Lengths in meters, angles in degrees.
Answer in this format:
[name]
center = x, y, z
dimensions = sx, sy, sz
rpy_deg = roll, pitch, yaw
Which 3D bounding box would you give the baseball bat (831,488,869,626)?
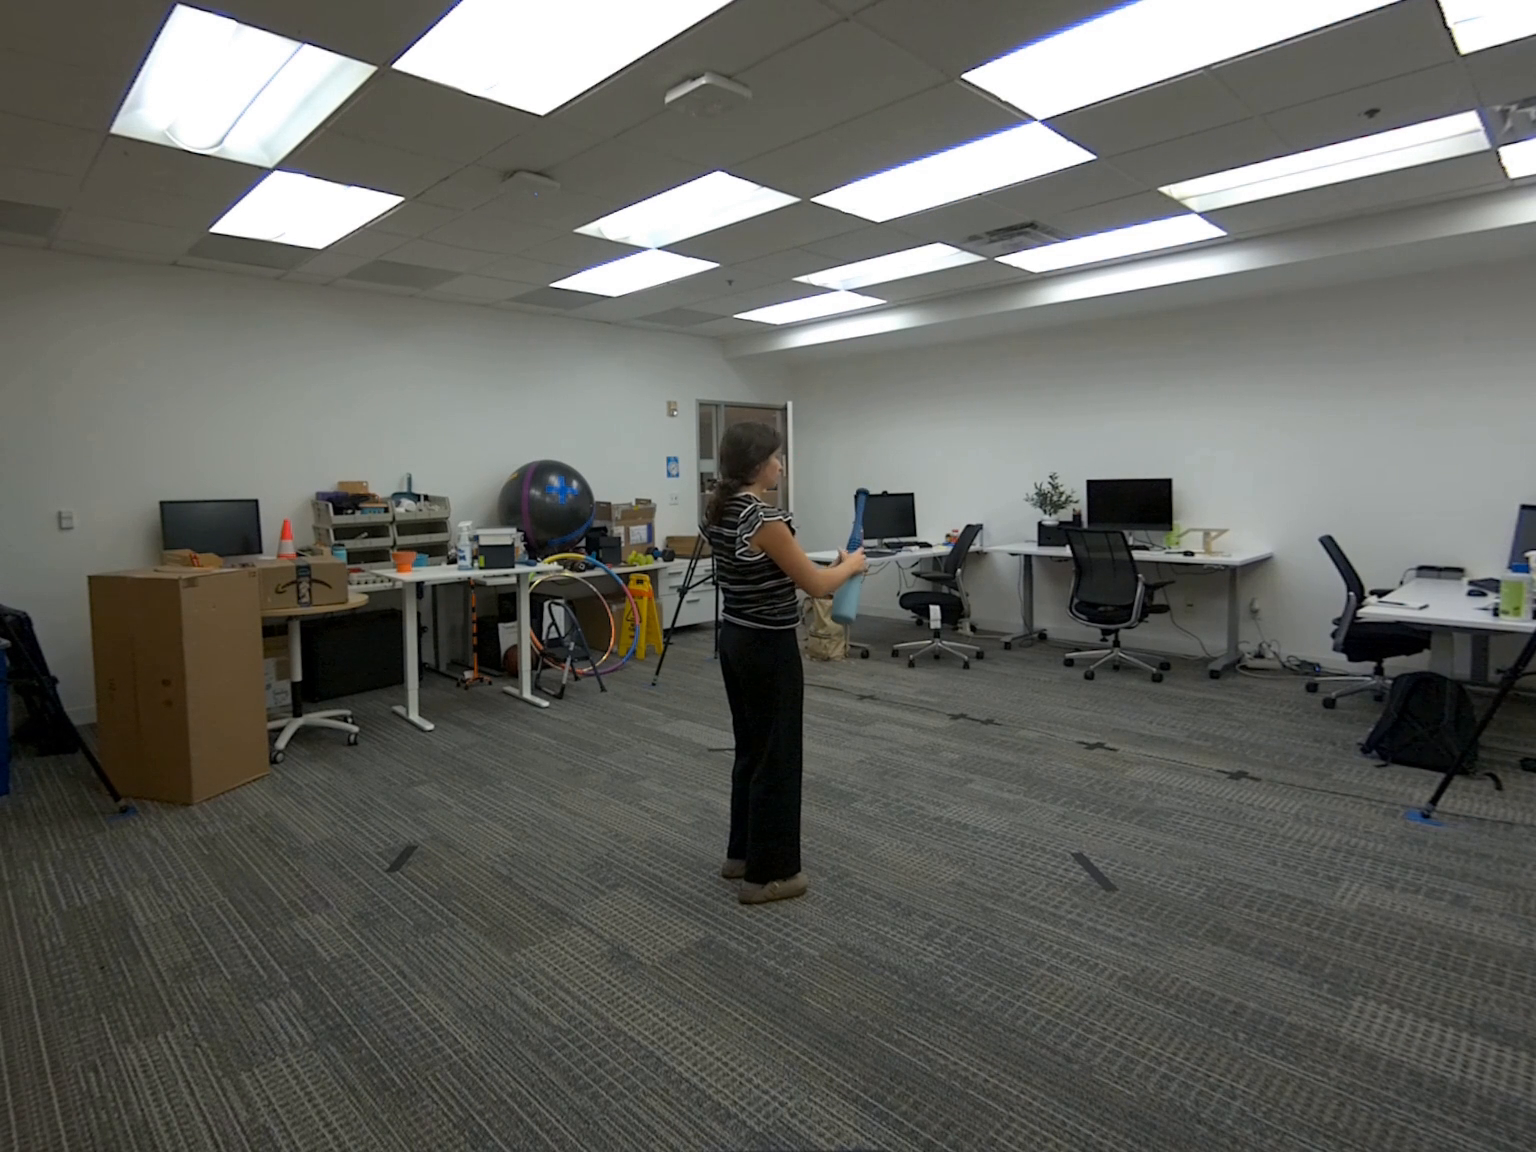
[baseball bat]
center = 0.308, -0.088, 3.045
dimensions = 0.089, 0.551, 0.087
rpy_deg = 11, -28, 4
